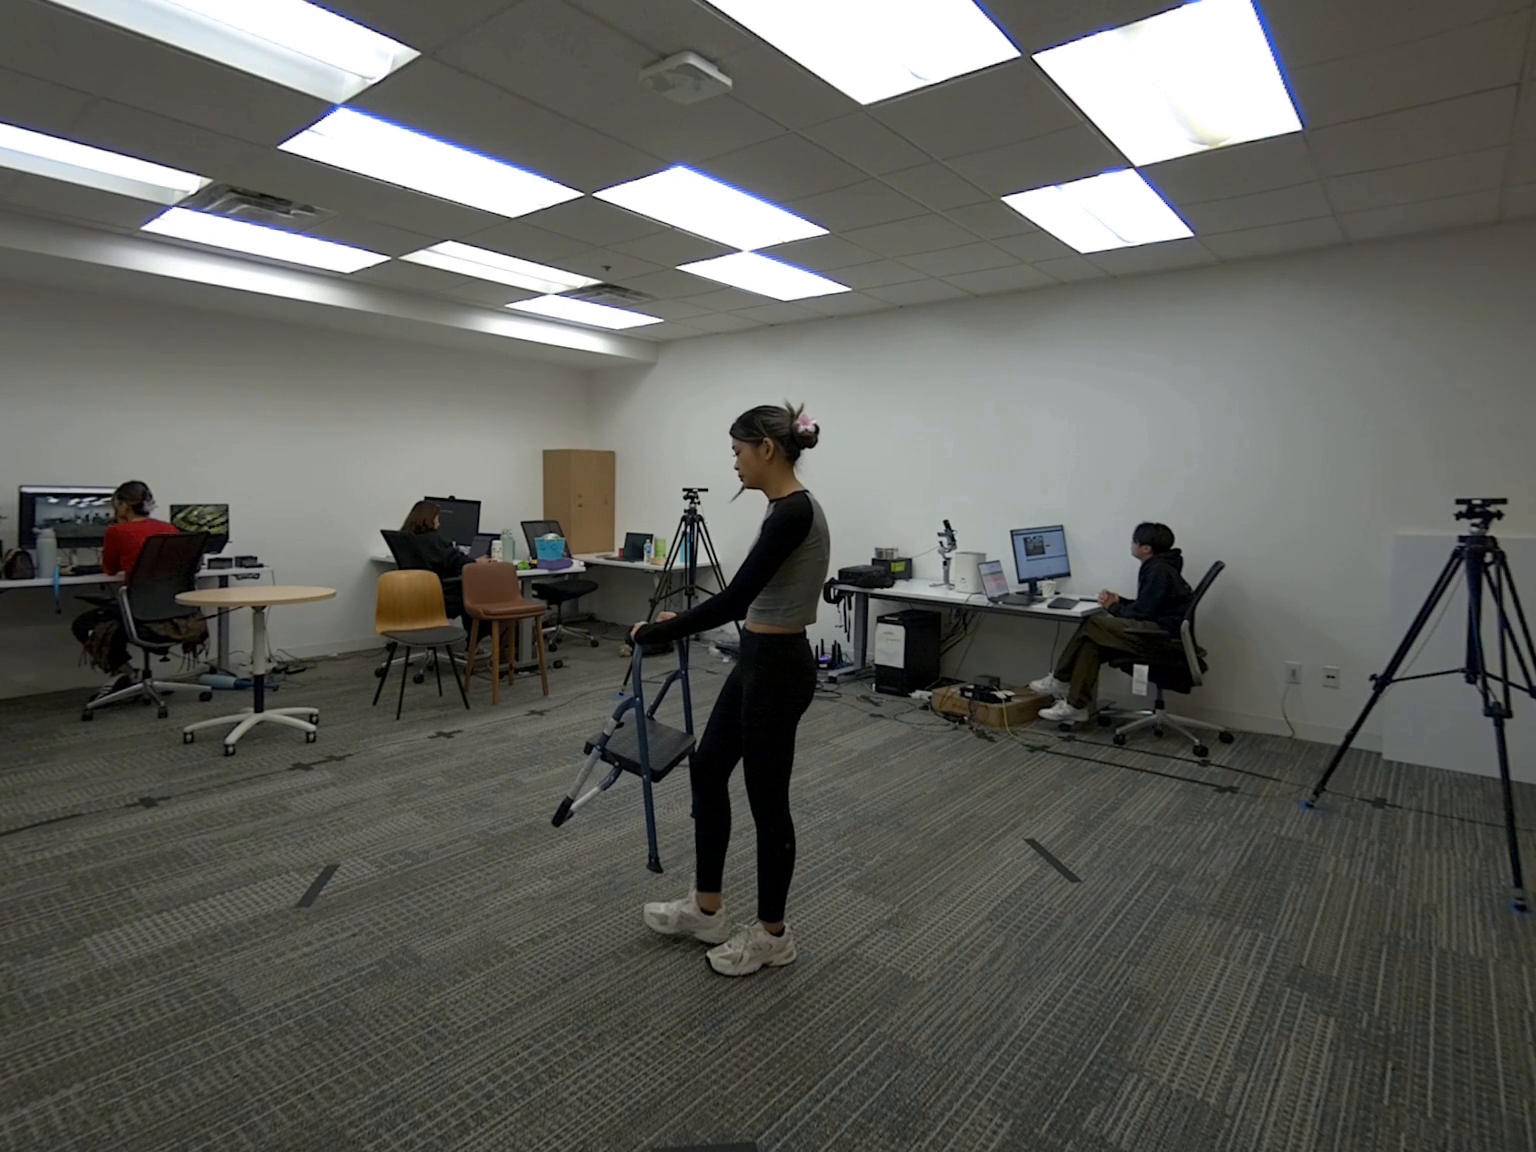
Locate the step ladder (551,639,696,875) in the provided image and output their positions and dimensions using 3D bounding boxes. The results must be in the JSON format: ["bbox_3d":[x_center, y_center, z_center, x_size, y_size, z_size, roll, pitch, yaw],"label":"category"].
[{"bbox_3d":[-0.342,0.457,2.545,0.356,0.604,0.425,17,6,13],"label":"step ladder"}]
